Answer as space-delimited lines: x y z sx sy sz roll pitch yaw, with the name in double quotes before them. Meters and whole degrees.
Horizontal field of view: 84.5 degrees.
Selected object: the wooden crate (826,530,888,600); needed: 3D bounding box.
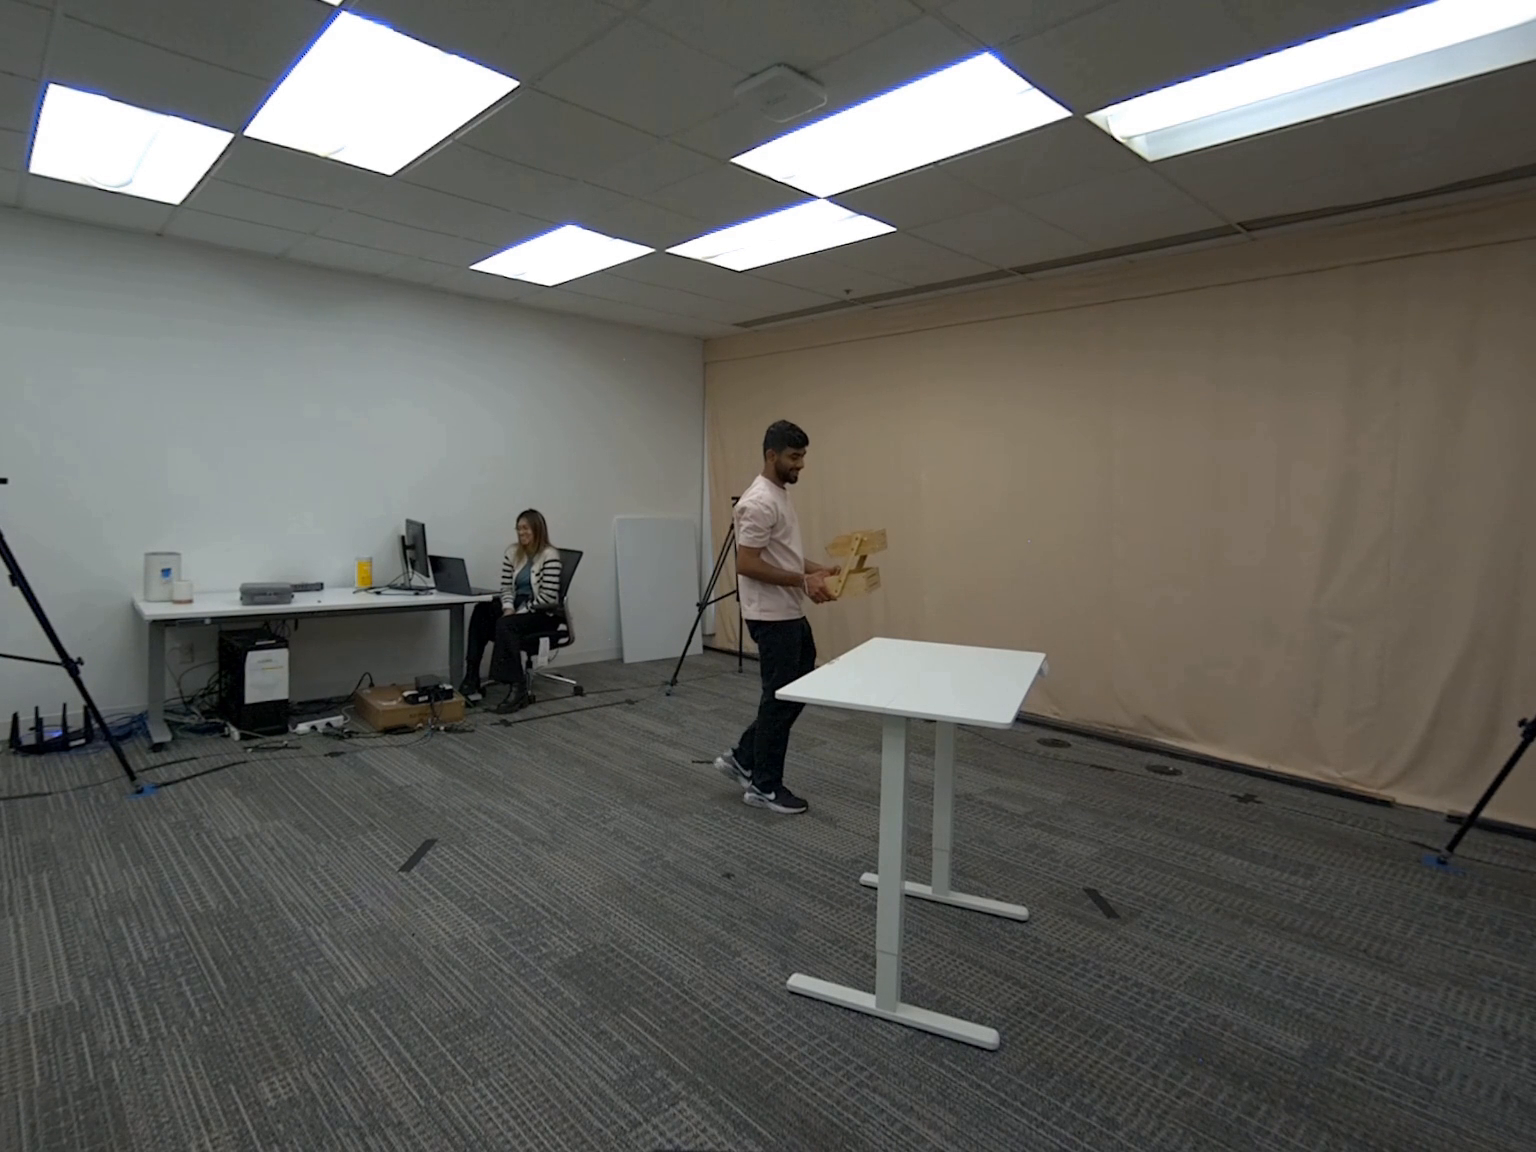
"wooden crate" 0.320 -0.069 3.687 0.306 0.272 0.320 1 5 19
